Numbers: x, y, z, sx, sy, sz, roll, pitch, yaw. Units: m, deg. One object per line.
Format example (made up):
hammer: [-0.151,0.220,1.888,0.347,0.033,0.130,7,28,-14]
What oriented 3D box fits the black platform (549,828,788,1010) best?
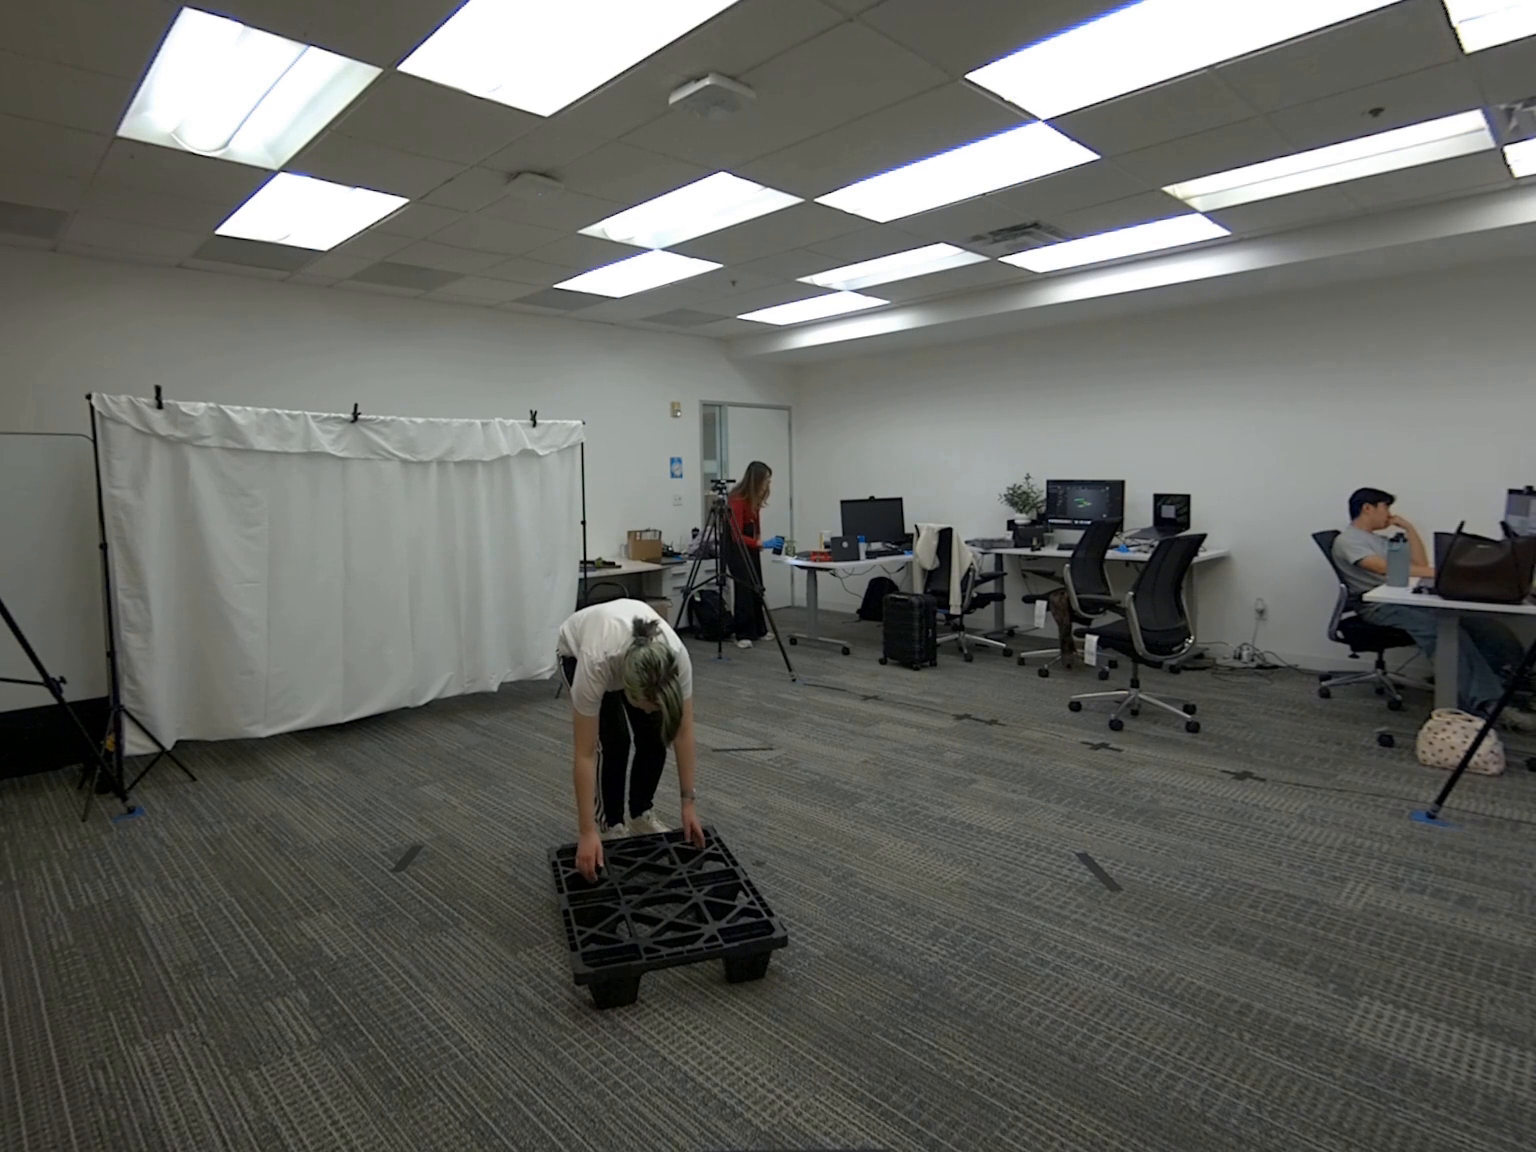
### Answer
black platform: [-0.351,1.036,2.673,0.596,0.142,0.822,-4,7,-18]
